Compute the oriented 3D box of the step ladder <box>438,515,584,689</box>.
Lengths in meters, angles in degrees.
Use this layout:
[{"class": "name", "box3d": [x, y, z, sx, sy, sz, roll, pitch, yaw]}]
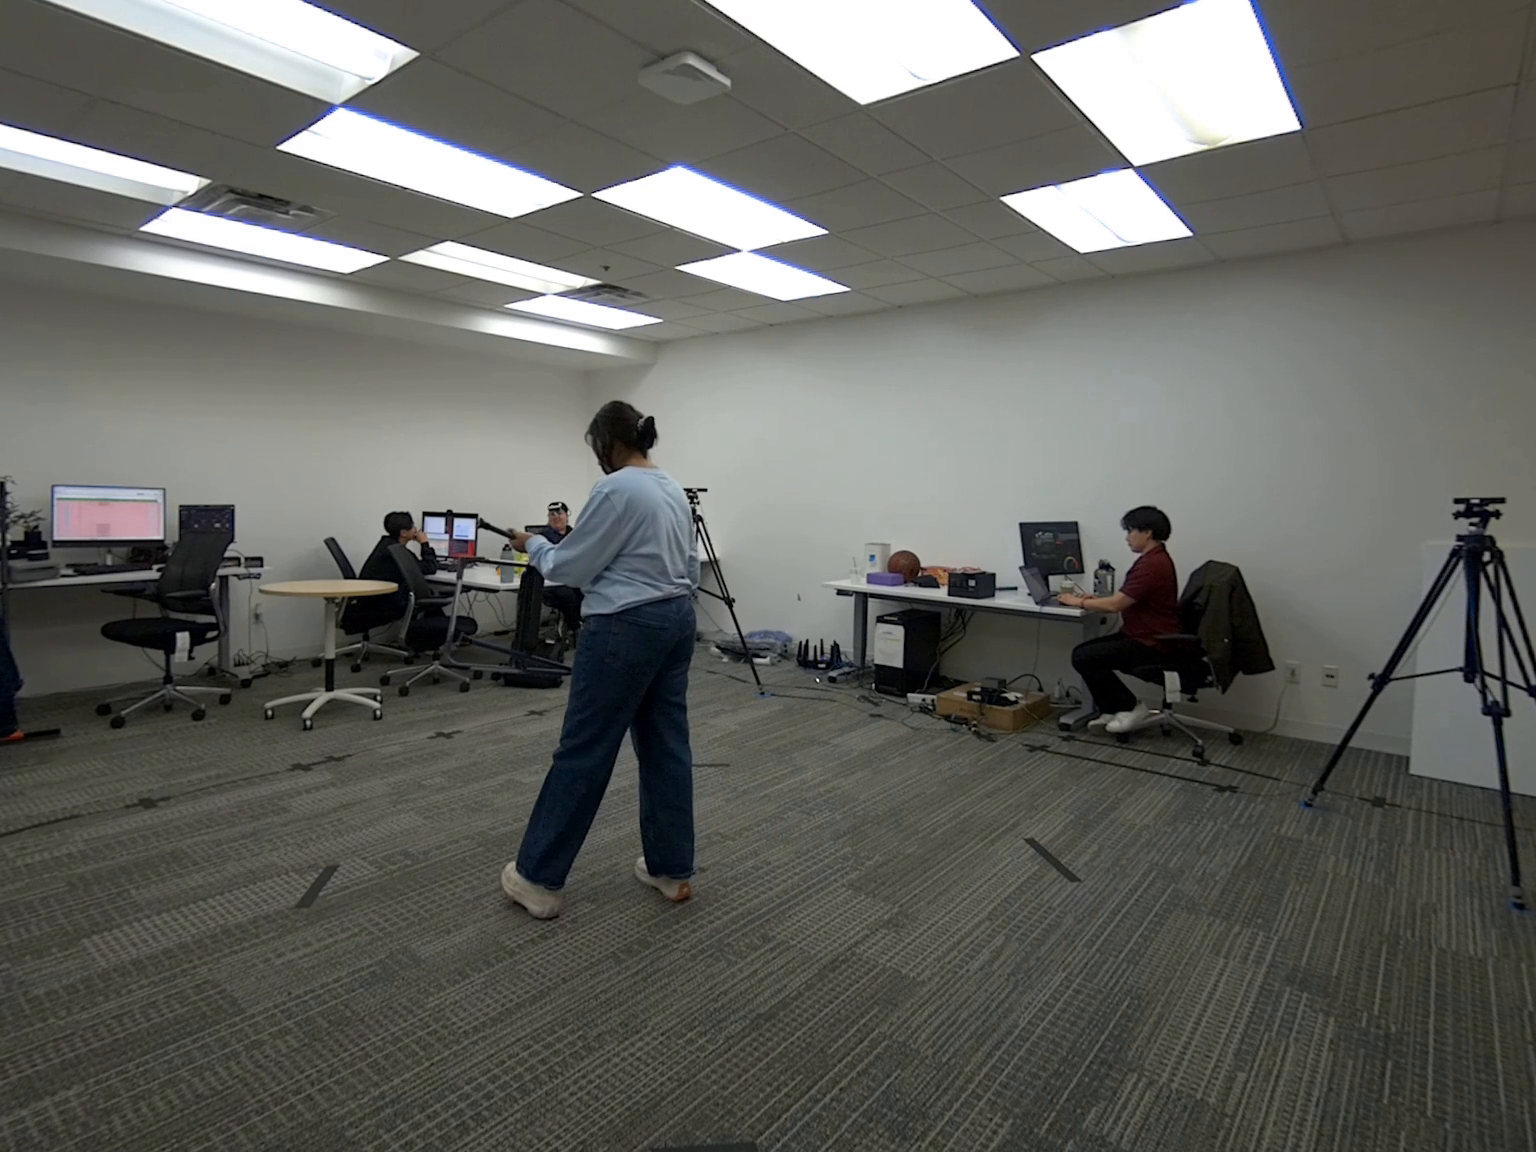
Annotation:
[{"class": "step ladder", "box3d": [-0.777, 0.118, 2.948, 0.589, 0.440, 0.351, 13, -28, -25]}]
